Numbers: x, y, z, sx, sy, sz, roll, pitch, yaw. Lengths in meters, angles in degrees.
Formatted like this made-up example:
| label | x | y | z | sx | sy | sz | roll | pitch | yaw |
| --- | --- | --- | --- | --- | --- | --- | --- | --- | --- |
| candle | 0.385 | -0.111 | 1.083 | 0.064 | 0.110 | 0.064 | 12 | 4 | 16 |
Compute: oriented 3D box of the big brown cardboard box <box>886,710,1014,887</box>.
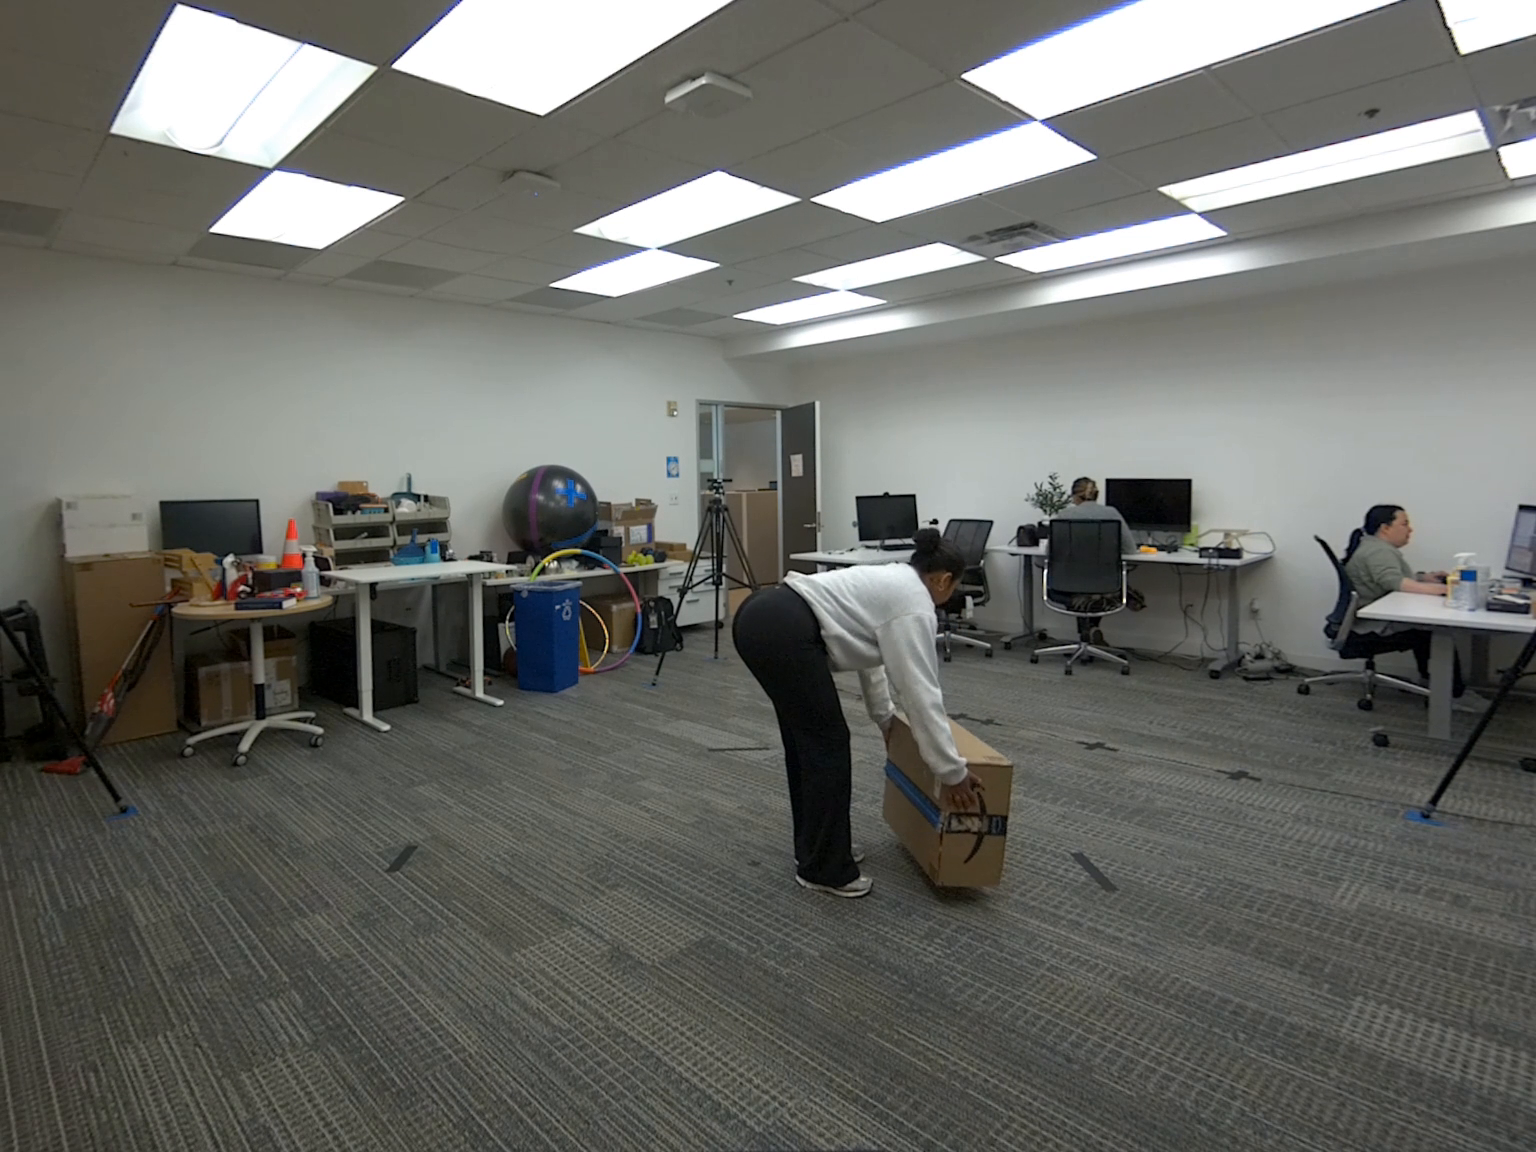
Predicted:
| label | x | y | z | sx | sy | sz | roll | pitch | yaw |
| --- | --- | --- | --- | --- | --- | --- | --- | --- | --- |
| big brown cardboard box | 0.617 | 0.754 | 3.018 | 0.232 | 0.416 | 0.594 | 2 | 4 | -7 |
